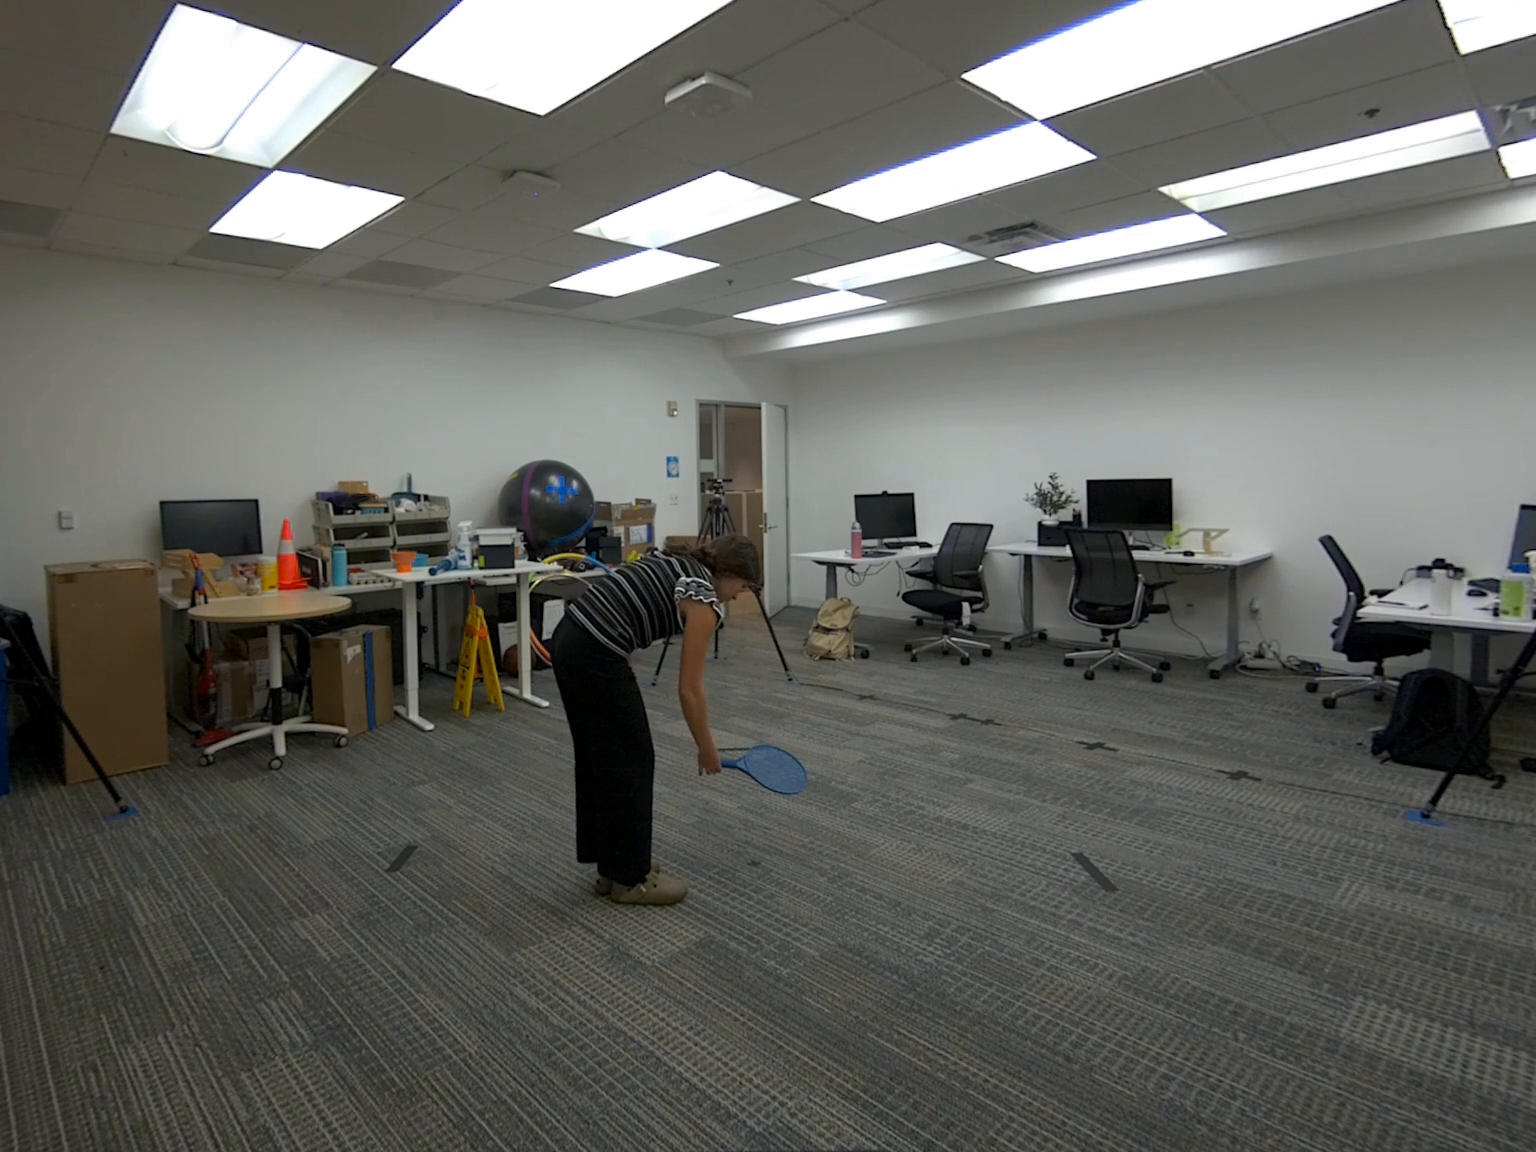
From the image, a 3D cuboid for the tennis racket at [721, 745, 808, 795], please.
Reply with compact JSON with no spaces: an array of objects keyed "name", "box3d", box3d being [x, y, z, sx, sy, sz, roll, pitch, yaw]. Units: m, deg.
[{"name":"tennis racket","box3d":[-0.037,0.680,3.065,0.421,0.031,0.221,13,33,-28]}]
